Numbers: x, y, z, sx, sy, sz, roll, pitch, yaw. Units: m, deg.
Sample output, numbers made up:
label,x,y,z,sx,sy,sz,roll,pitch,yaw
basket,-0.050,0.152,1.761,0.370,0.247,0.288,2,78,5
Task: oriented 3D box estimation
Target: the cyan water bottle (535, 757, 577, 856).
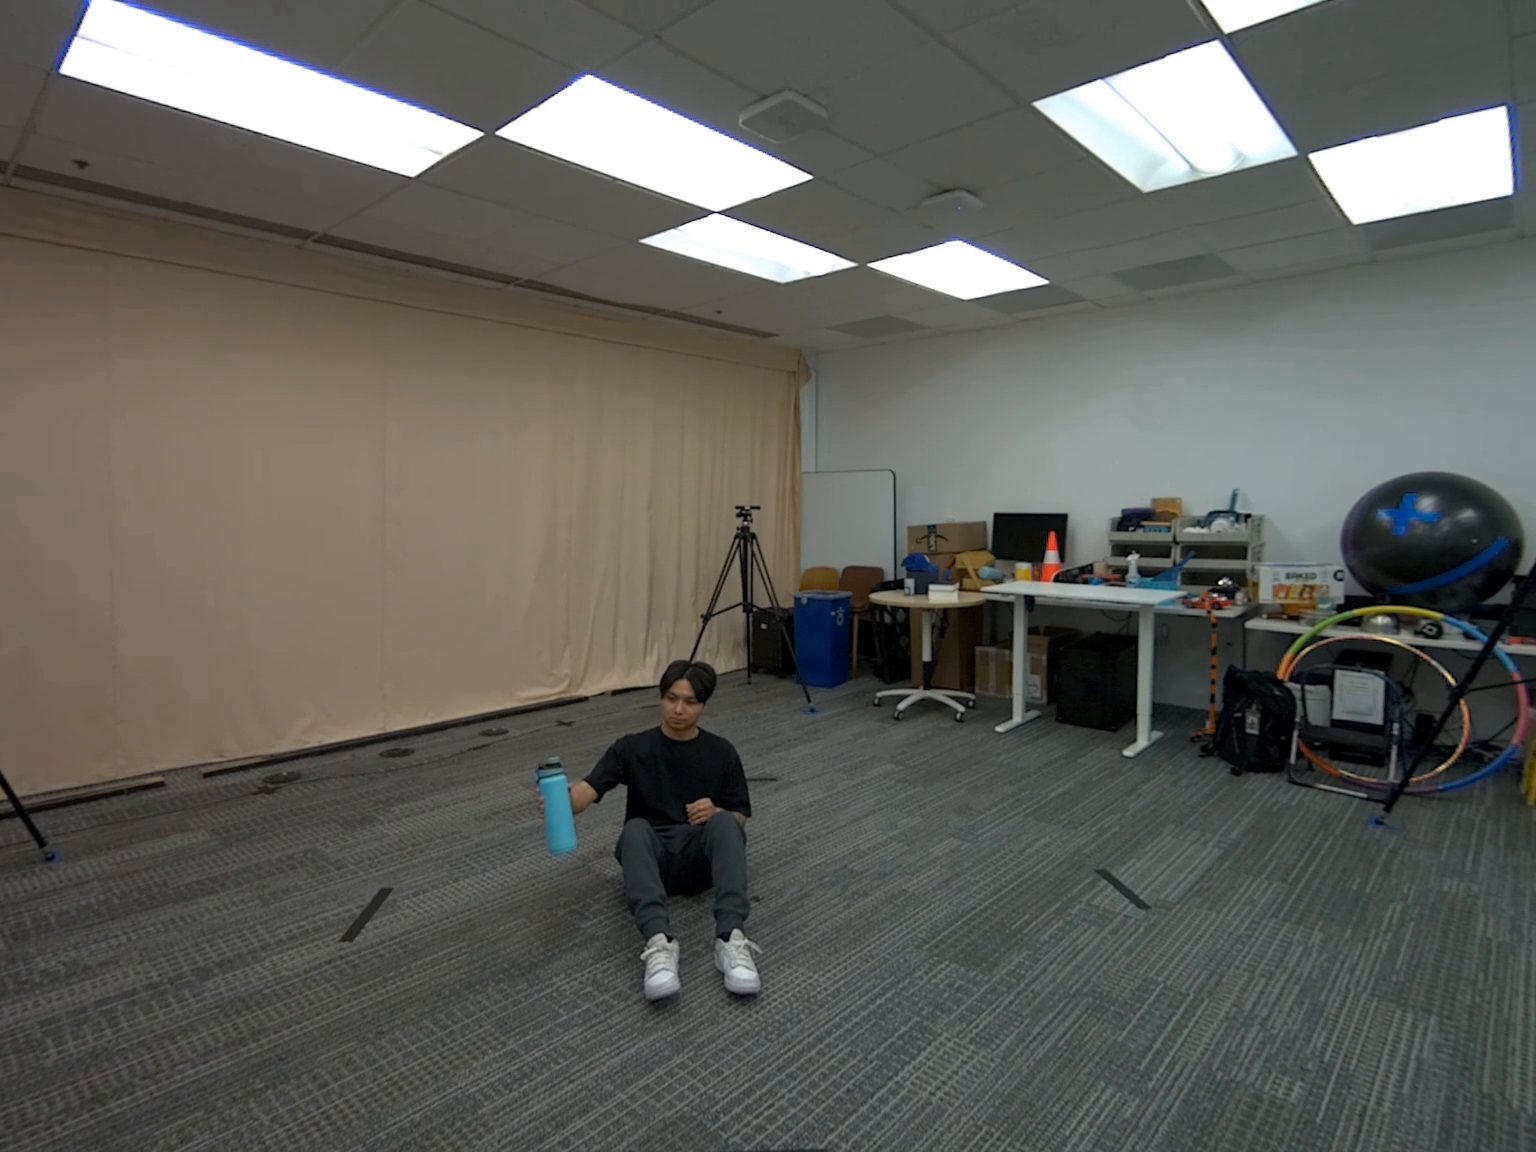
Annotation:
label,x,y,z,sx,sy,sz,roll,pitch,yaw
cyan water bottle,-0.661,0.717,2.637,0.092,0.285,0.092,-15,-8,-4
